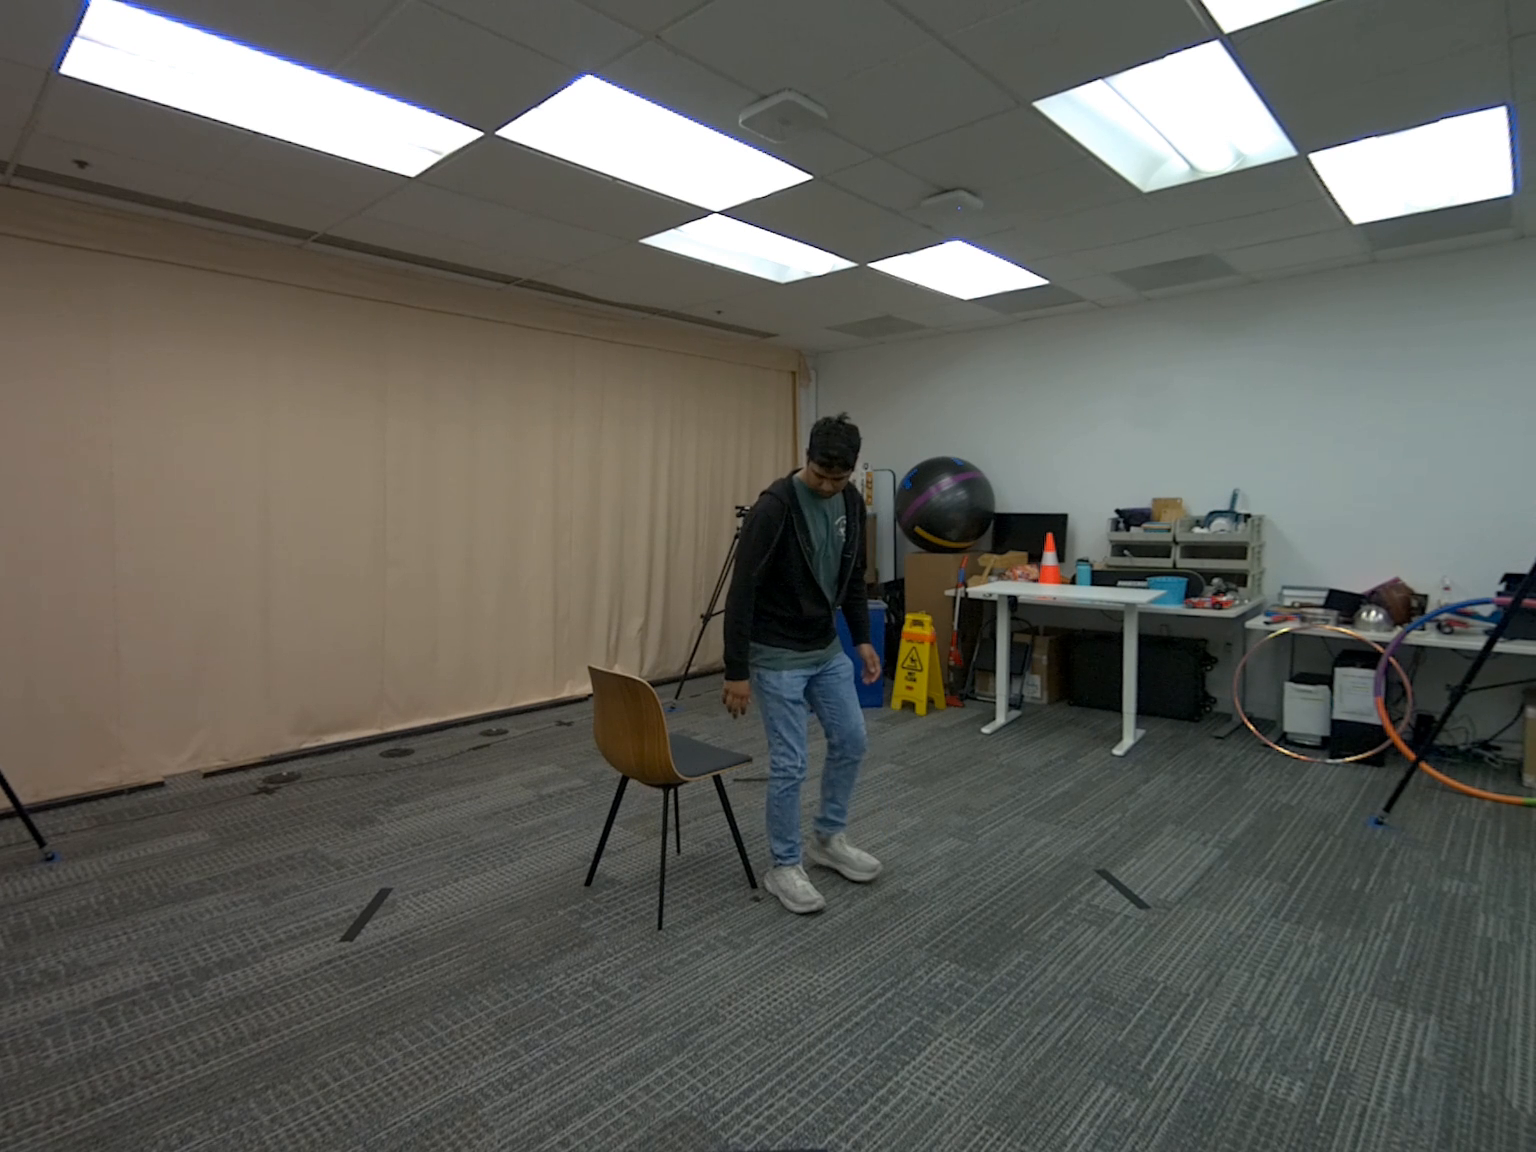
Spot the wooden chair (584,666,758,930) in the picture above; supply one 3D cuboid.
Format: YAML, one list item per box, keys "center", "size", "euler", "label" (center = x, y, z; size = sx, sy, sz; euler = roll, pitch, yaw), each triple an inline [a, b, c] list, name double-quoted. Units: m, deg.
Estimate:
- center: [-0.350, 0.715, 3.054]
  size: [0.508, 0.874, 0.494]
  euler: [-9, 7, -43]
  label: "wooden chair"
